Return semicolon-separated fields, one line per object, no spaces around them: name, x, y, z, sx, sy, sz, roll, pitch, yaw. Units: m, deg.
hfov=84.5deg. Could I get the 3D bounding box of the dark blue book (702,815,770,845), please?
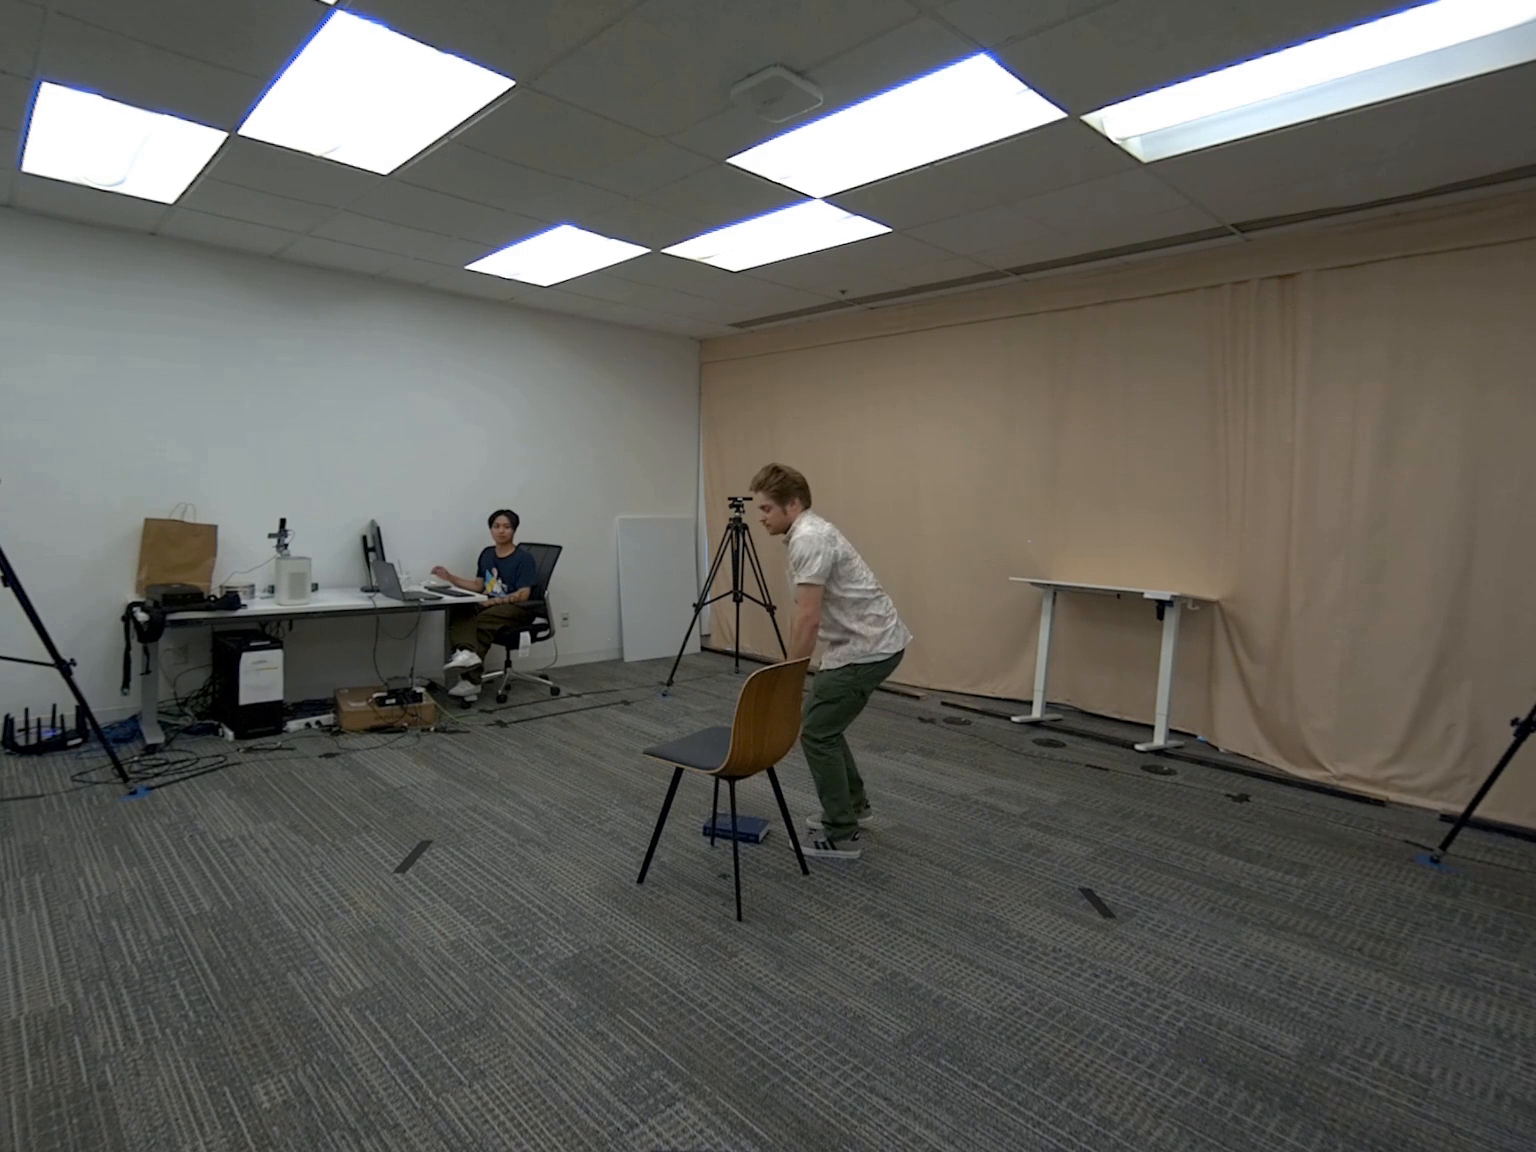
dark blue book;-0.135;1.044;3.512;0.249;0.045;0.161;2;4;18
